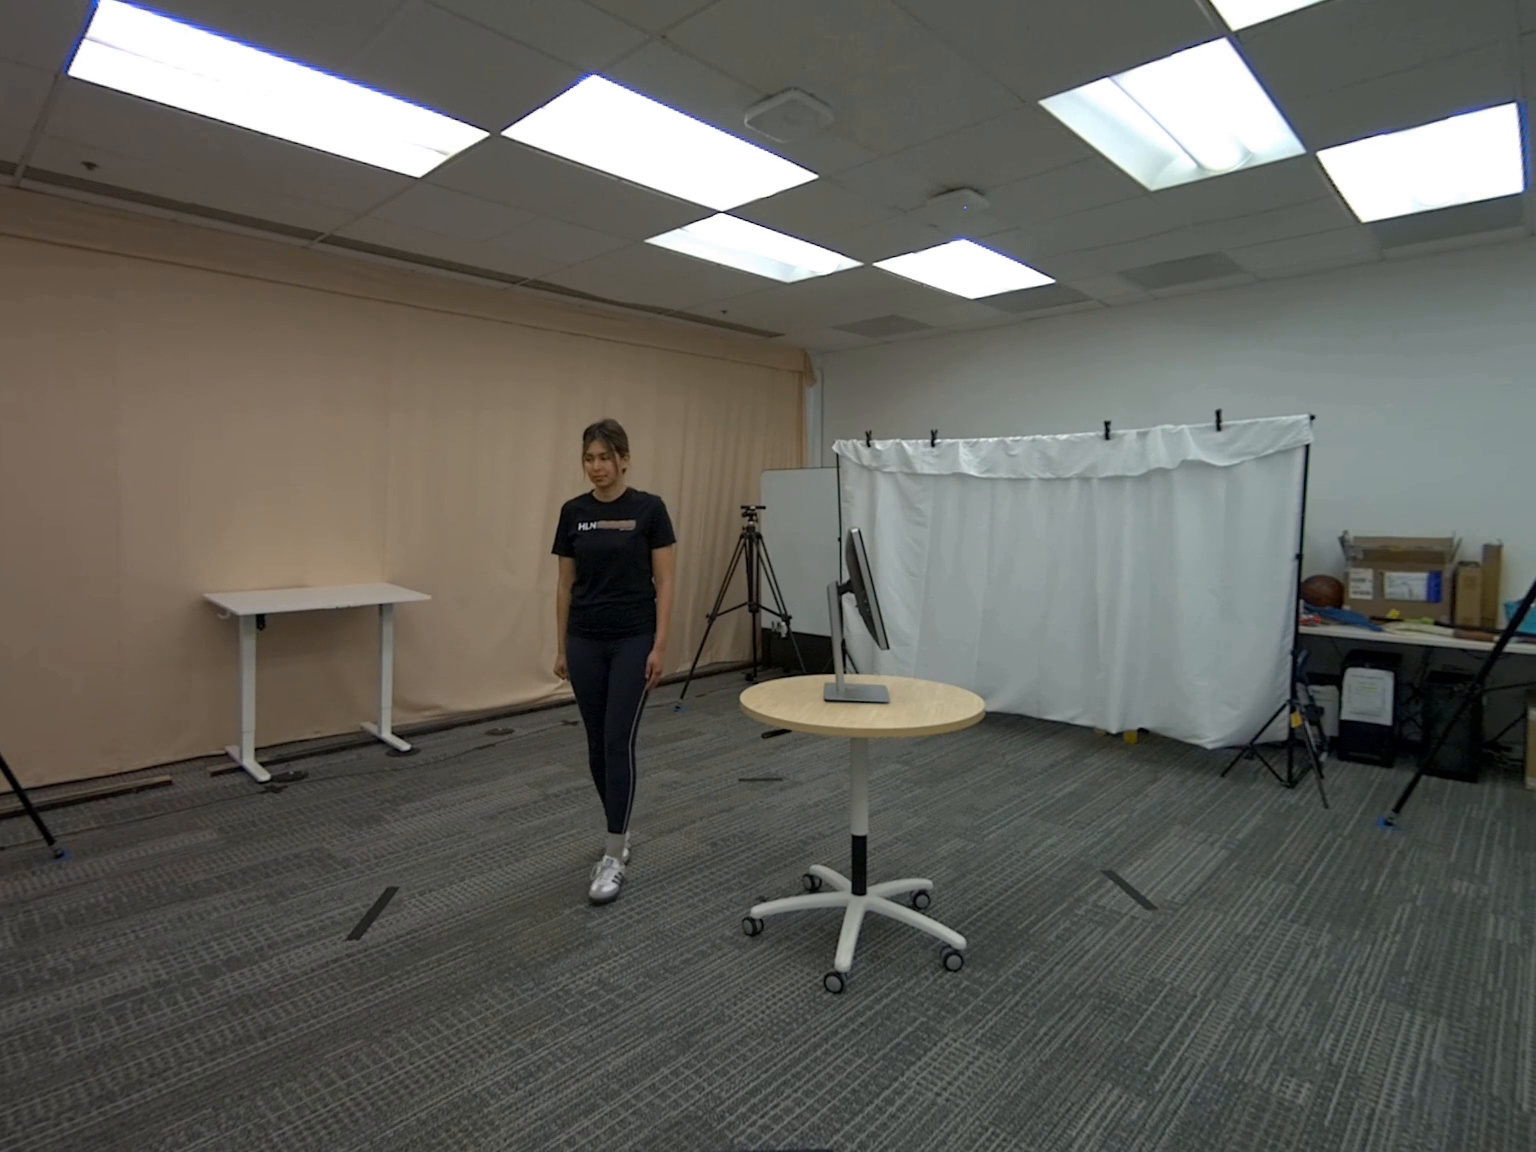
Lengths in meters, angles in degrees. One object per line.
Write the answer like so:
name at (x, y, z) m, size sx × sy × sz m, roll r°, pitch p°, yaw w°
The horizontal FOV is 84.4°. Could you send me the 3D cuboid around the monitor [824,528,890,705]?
monitor at (0.286, 0.122, 2.723) m, size 0.188 × 0.522 × 0.537 m, roll 0°, pitch 3°, yaw 3°
